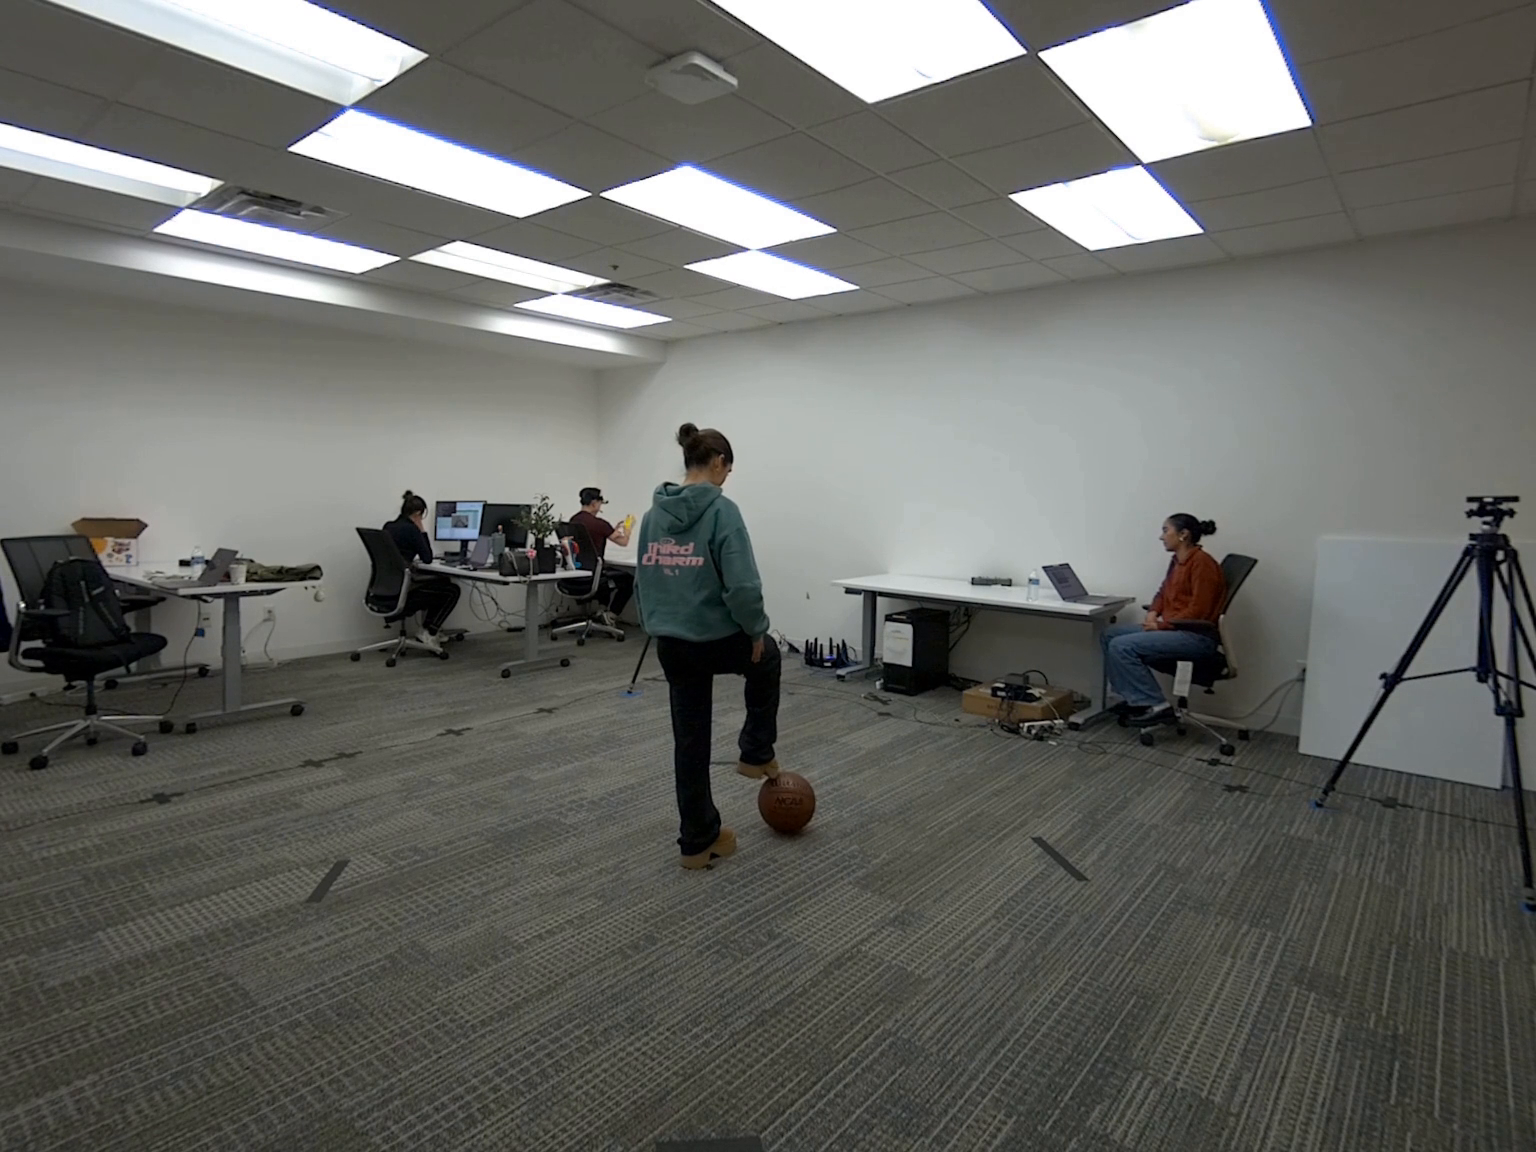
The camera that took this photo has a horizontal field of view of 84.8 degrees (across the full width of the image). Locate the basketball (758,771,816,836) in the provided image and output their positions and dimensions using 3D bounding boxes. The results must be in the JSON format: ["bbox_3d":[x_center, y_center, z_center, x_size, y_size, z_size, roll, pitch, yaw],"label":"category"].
[{"bbox_3d":[0.076,0.914,3.465,0.236,0.235,0.237,1,4,-2],"label":"basketball"}]
